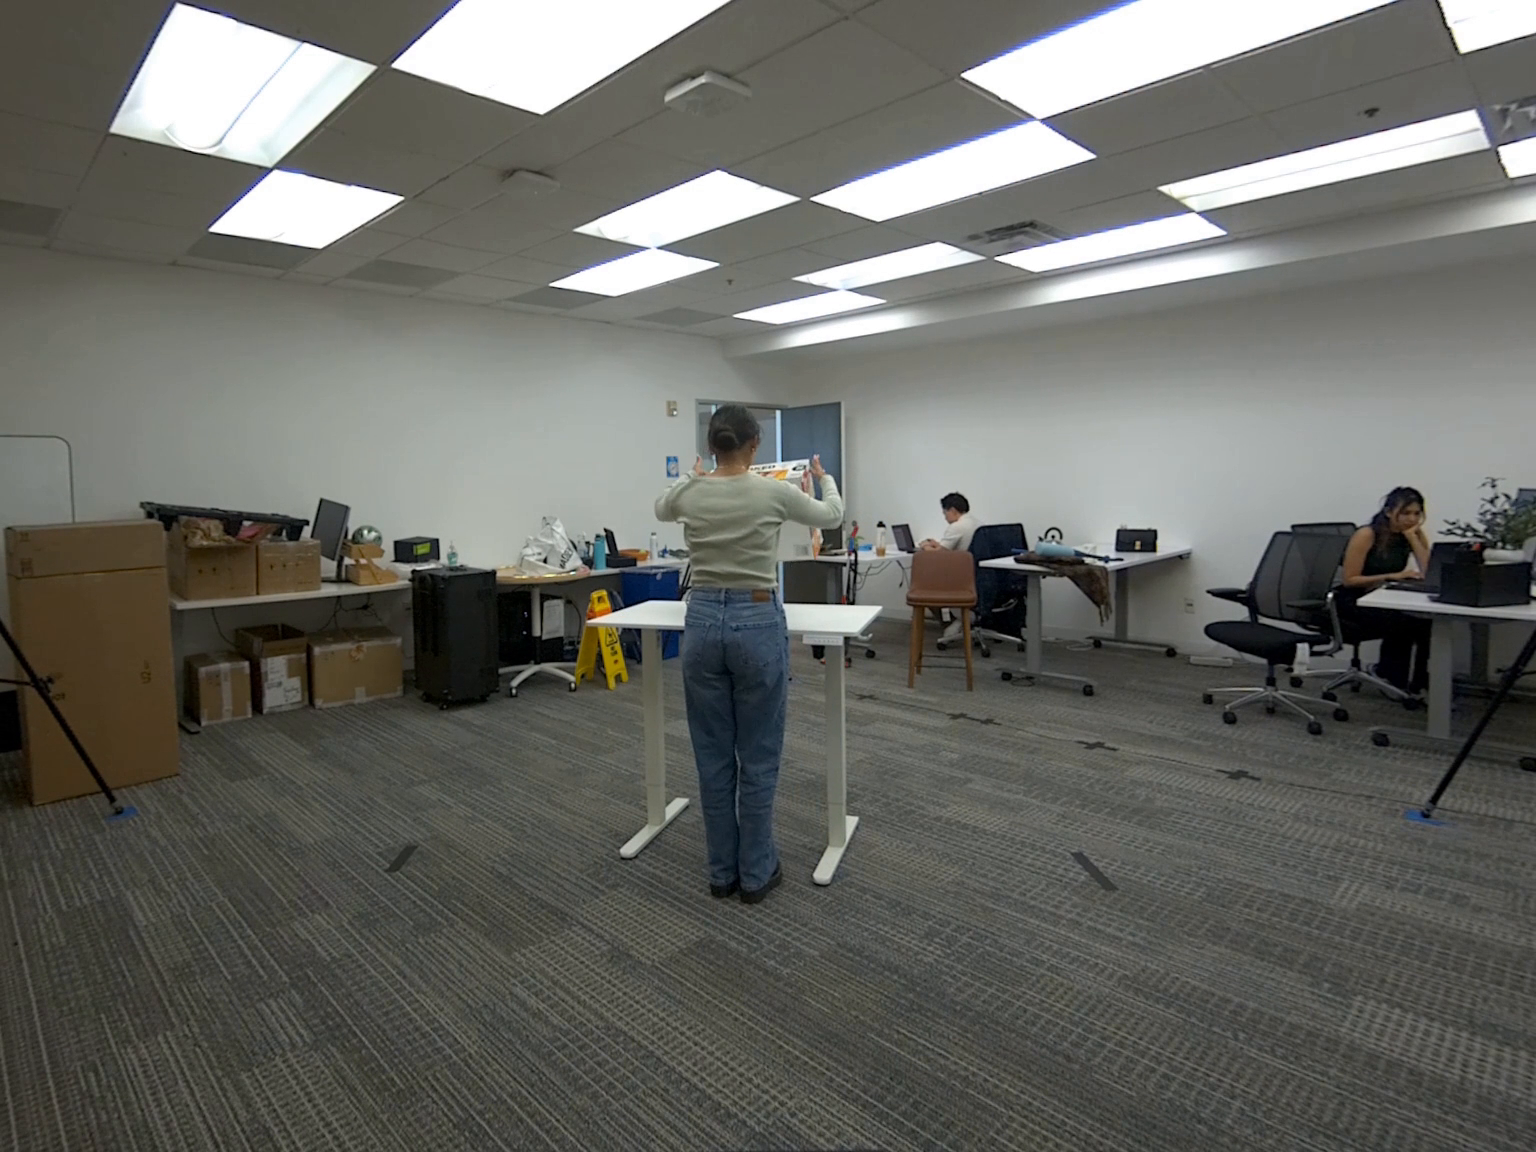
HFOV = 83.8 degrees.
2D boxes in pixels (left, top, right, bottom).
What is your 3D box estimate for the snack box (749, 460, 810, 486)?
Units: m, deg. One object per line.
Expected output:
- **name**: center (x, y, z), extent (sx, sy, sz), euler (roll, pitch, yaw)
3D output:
- **snack box**: center (-0.015, -0.242, 3.356), extent (0.411, 0.333, 0.207), euler (-5, 22, 16)
